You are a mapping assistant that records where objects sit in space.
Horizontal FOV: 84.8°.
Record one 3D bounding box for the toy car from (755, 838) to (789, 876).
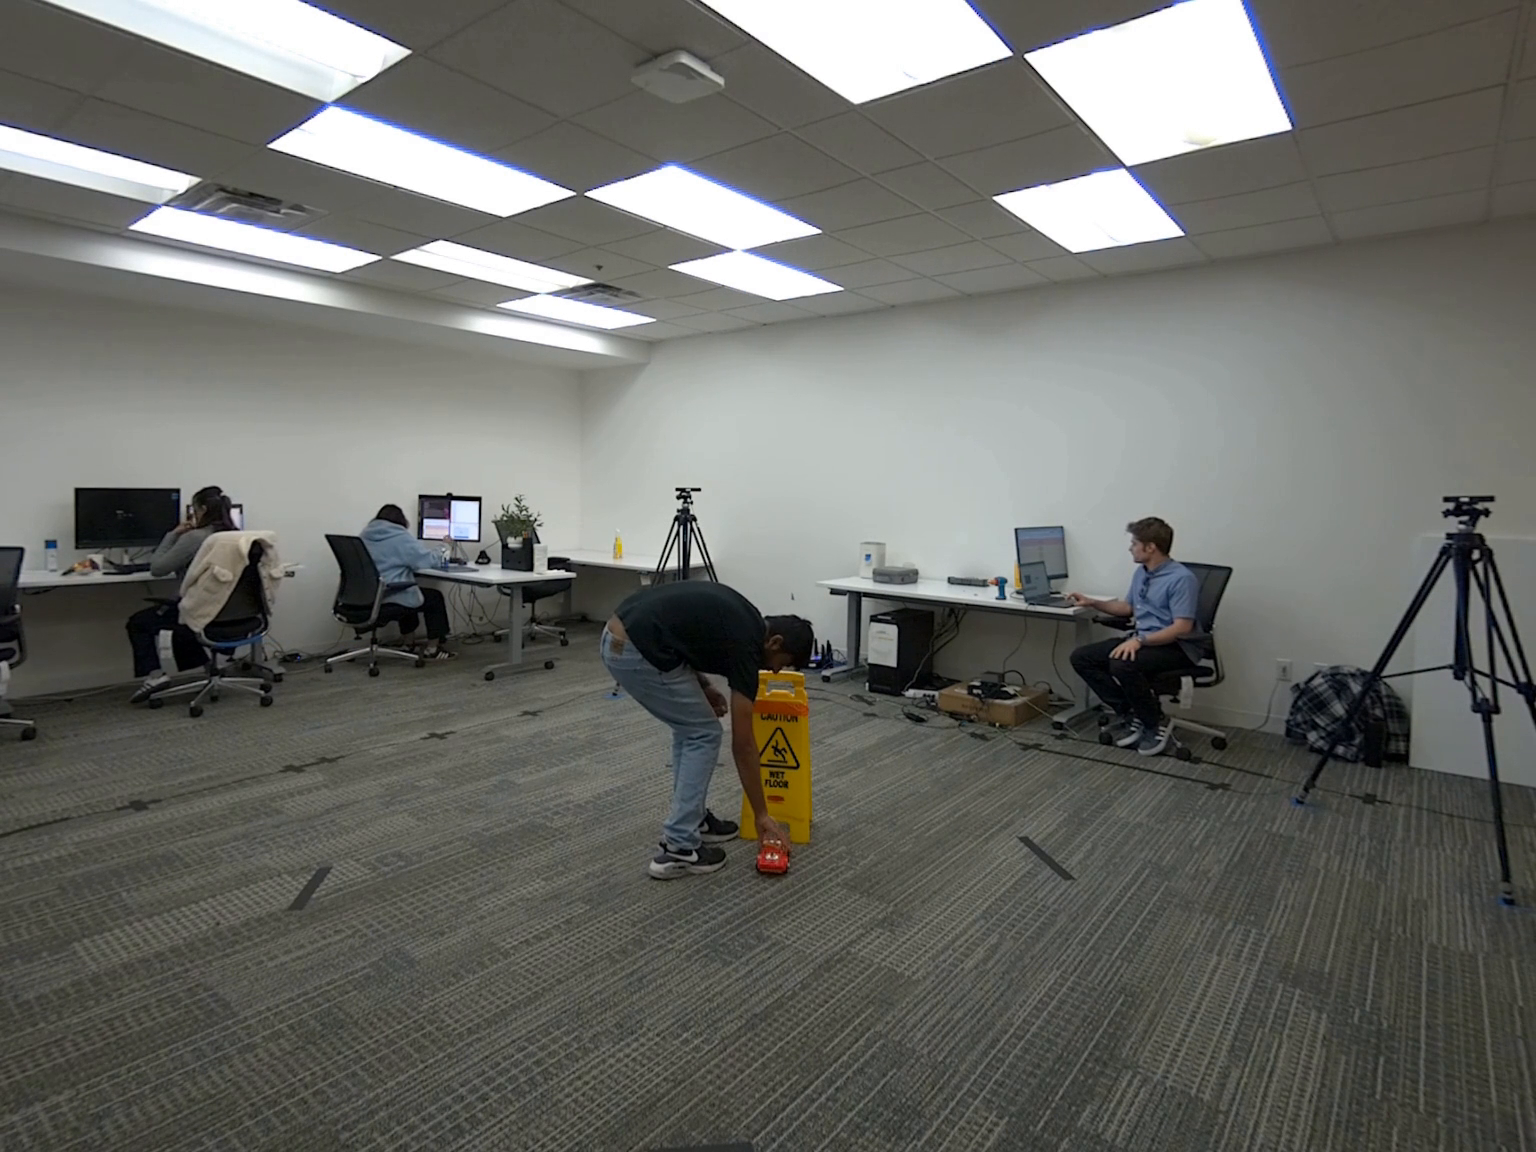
[{"bbox_3d":[0.007,1.035,3.148,0.131,0.084,0.251,4,-6,4],"label":"toy car"}]
